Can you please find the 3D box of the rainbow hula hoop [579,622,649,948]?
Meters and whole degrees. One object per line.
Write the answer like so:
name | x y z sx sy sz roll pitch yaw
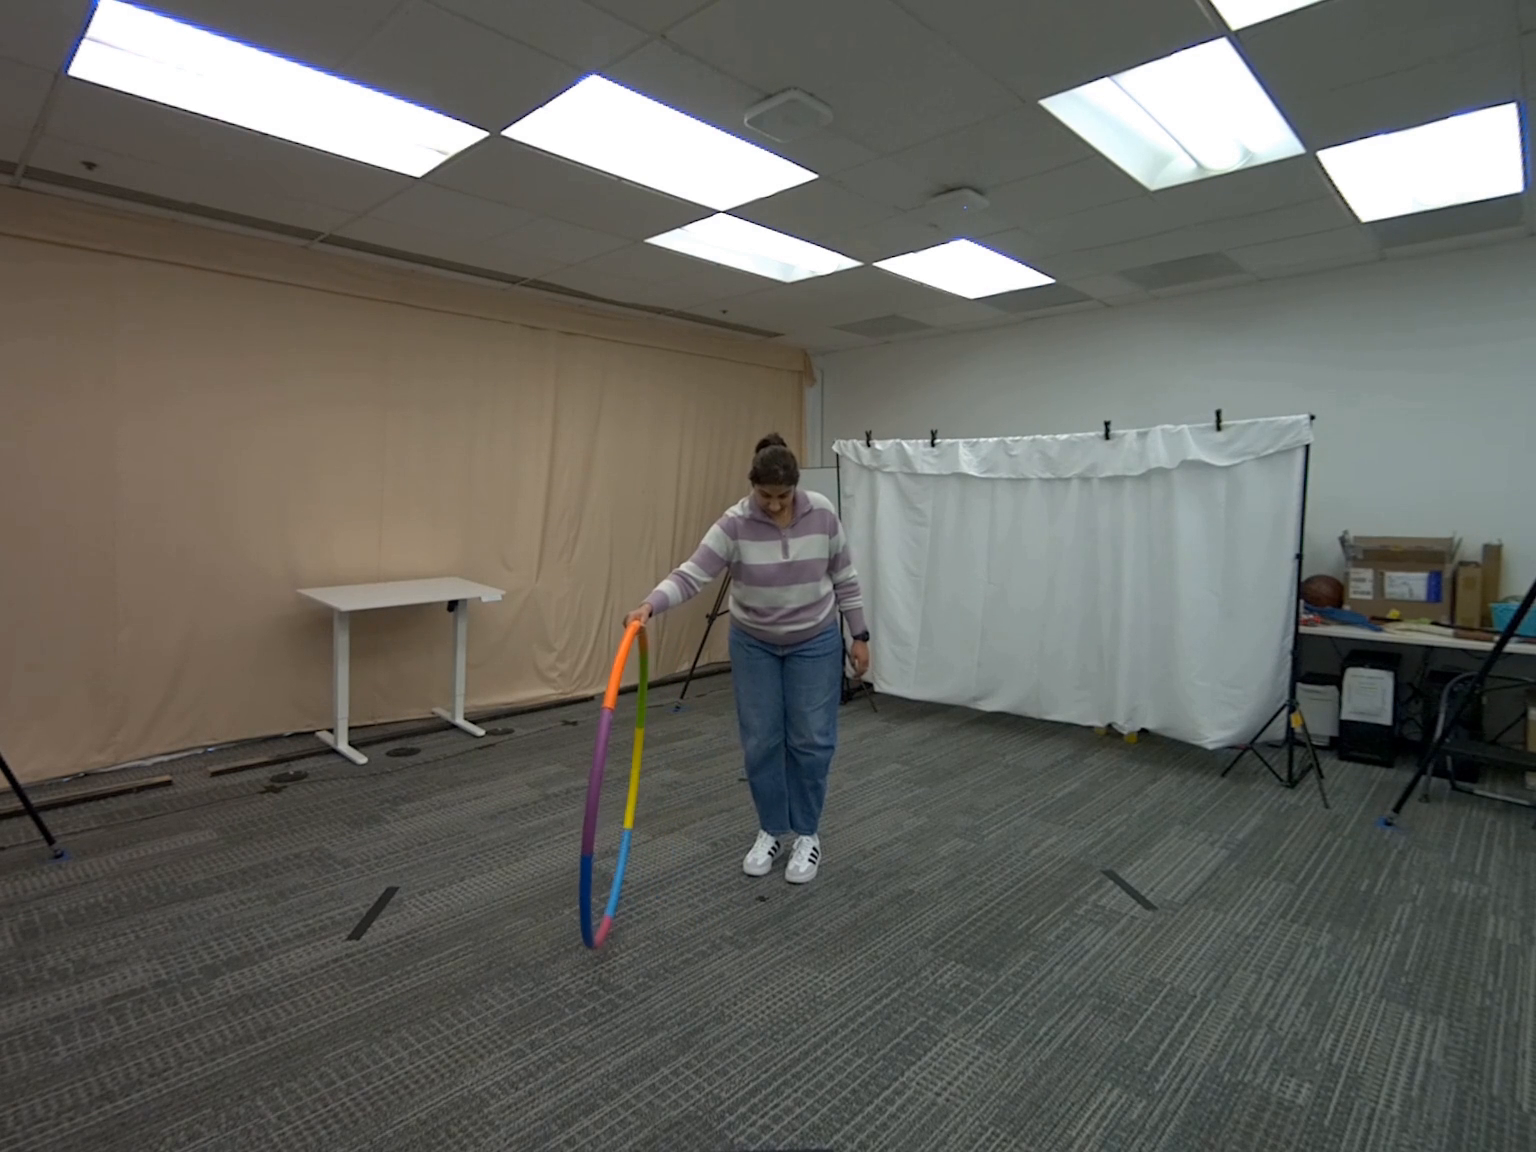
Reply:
rainbow hula hoop | -0.466 0.640 2.665 0.035 0.977 0.978 6 4 0
